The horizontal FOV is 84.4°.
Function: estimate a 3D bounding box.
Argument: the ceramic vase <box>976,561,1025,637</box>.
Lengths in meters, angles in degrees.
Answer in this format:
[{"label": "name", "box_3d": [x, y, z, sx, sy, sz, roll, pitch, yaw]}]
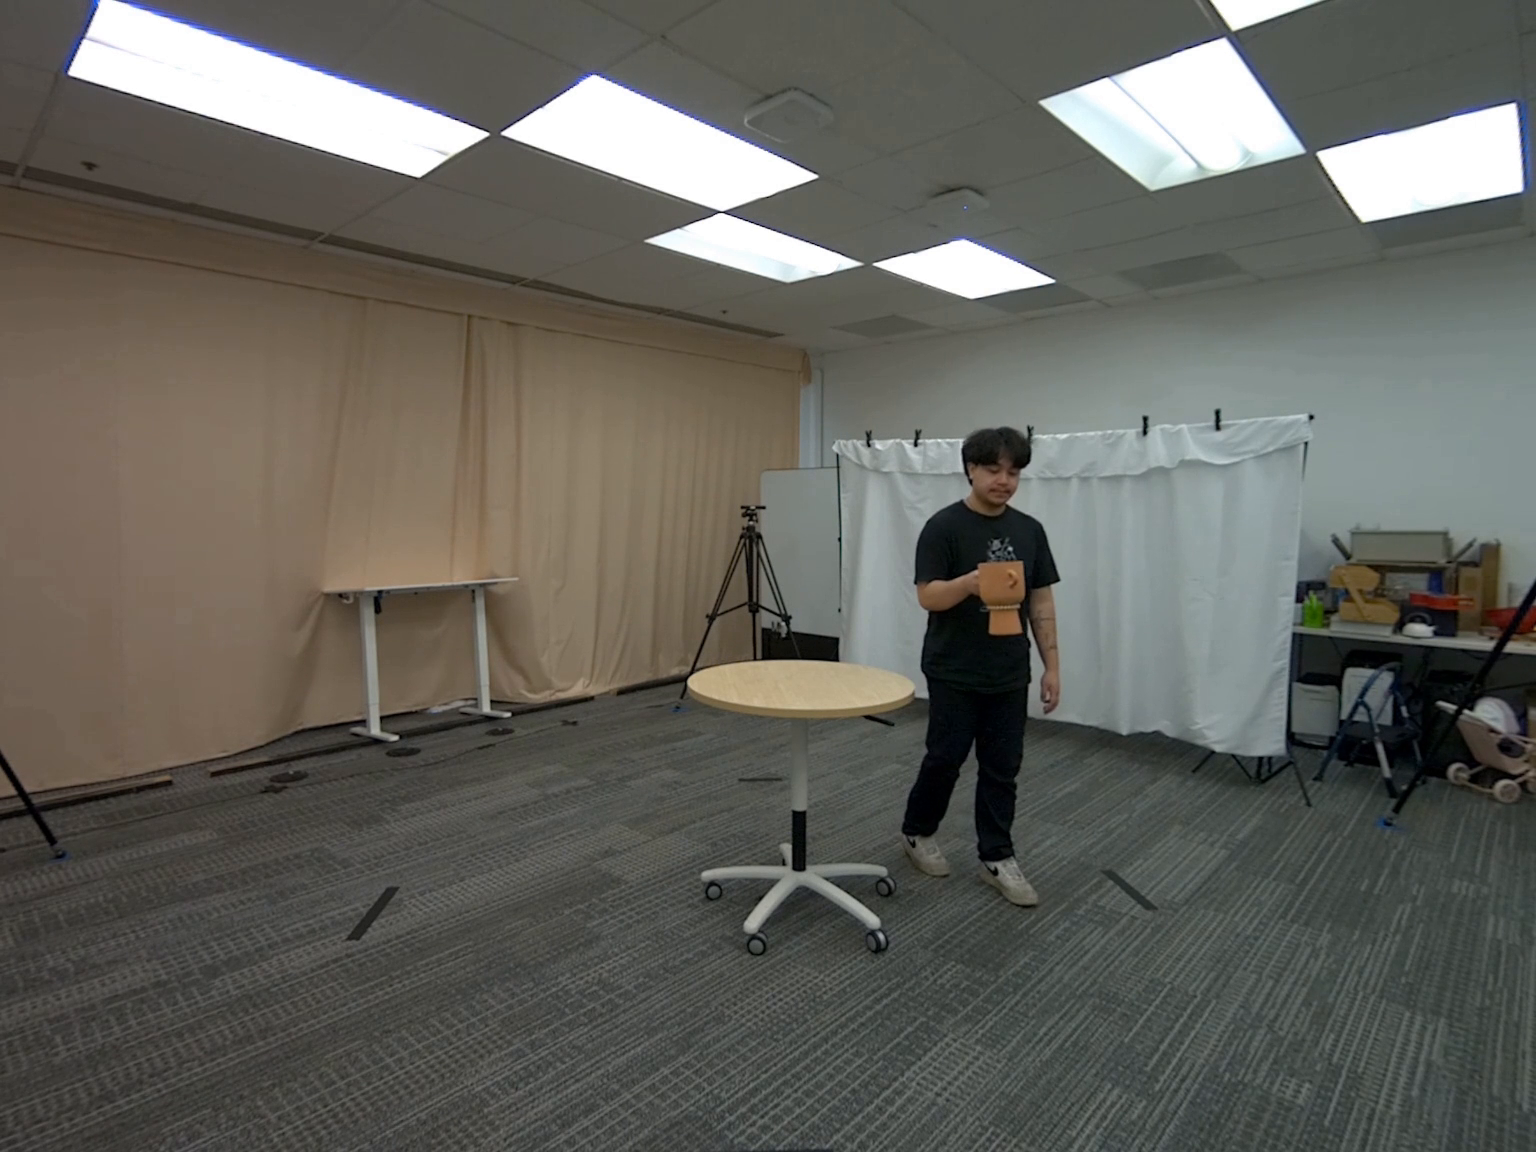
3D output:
[{"label": "ceramic vase", "box_3d": [0.731, 0.069, 2.626, 0.138, 0.220, 0.154, -4, 0, 30]}]
